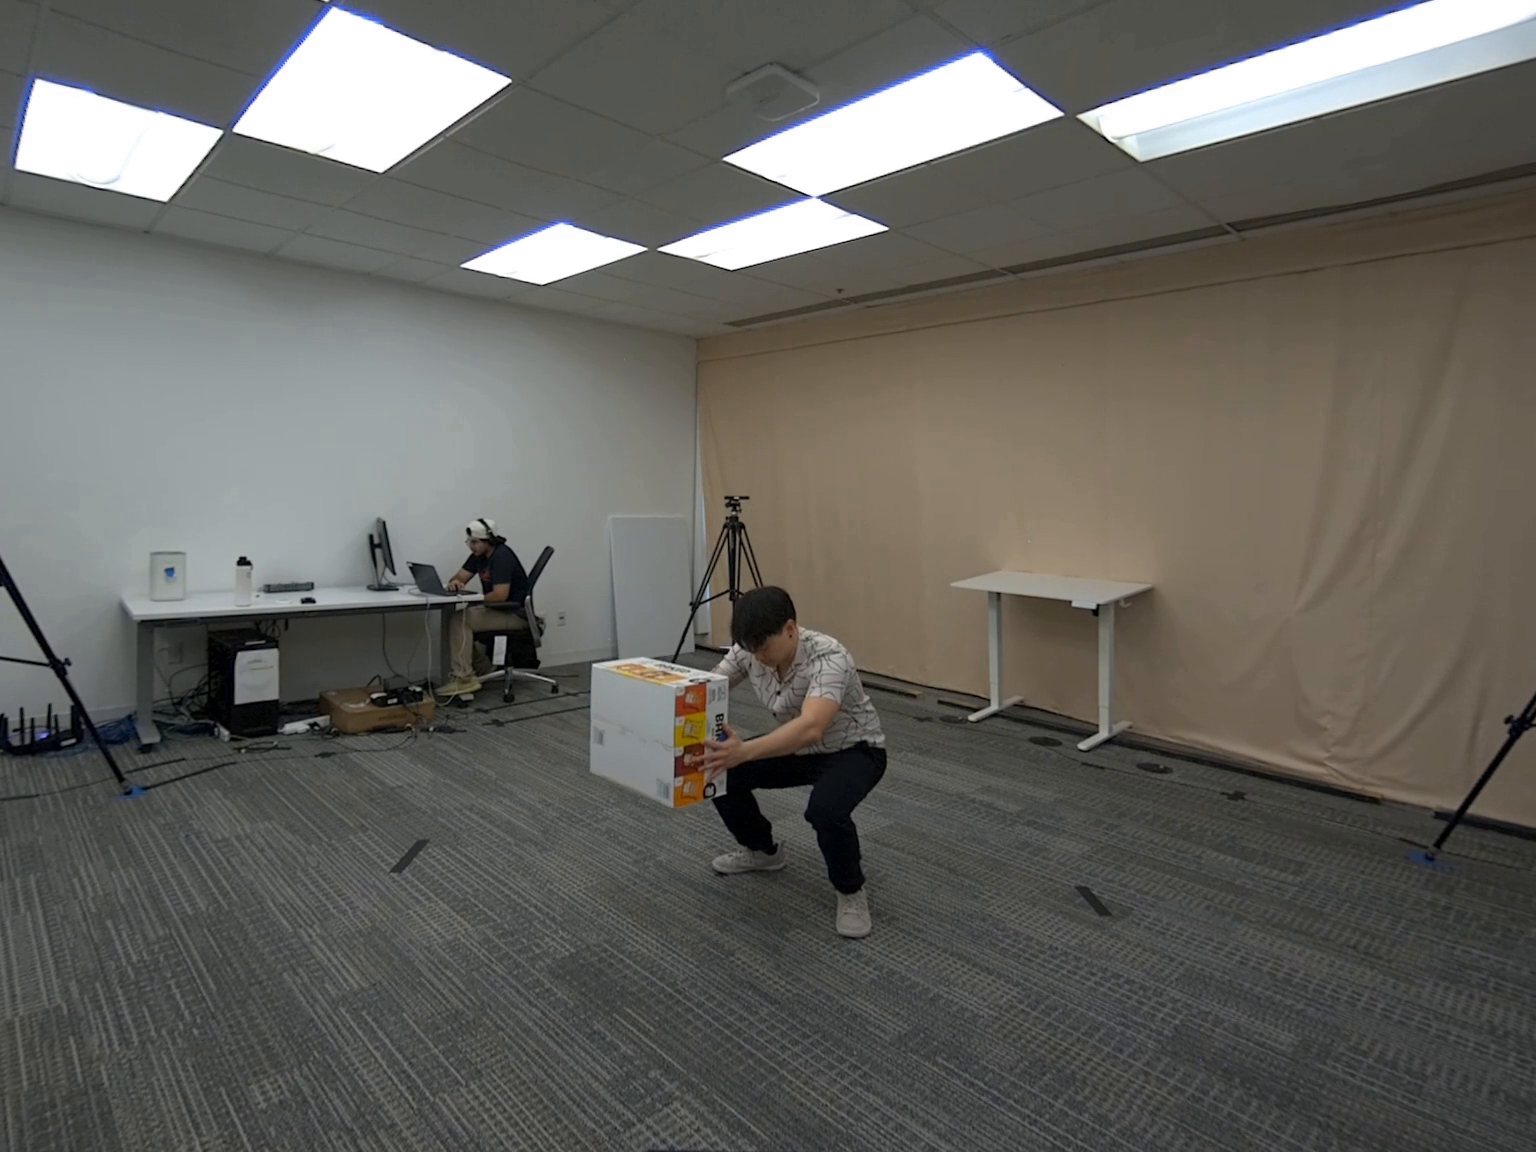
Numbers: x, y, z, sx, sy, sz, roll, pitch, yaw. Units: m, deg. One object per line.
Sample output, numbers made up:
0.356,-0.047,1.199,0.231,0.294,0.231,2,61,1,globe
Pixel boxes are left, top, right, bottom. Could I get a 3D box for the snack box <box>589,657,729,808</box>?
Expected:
-0.336,0.447,2.497,0.415,0.340,0.201,5,3,44,snack box
